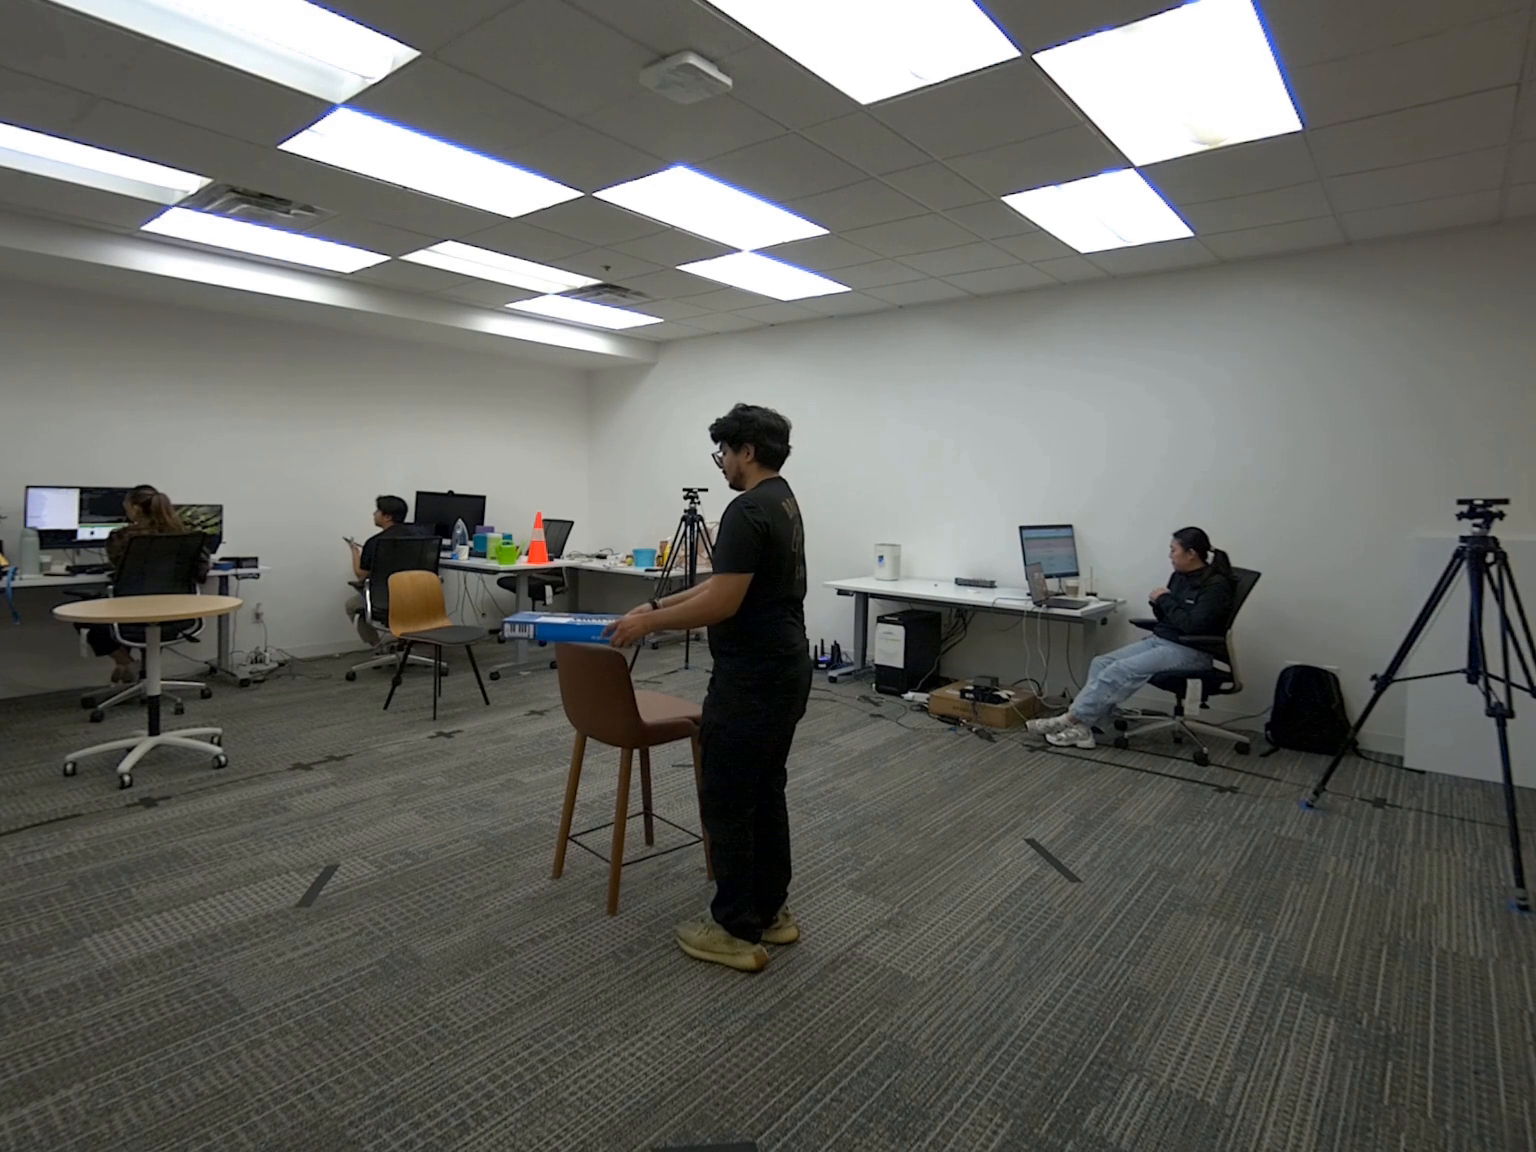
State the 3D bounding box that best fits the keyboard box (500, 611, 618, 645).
[{"bbox_3d":[-0.582,0.161,2.612,0.440,0.059,0.175,2,7,7],"label":"keyboard box"}]
